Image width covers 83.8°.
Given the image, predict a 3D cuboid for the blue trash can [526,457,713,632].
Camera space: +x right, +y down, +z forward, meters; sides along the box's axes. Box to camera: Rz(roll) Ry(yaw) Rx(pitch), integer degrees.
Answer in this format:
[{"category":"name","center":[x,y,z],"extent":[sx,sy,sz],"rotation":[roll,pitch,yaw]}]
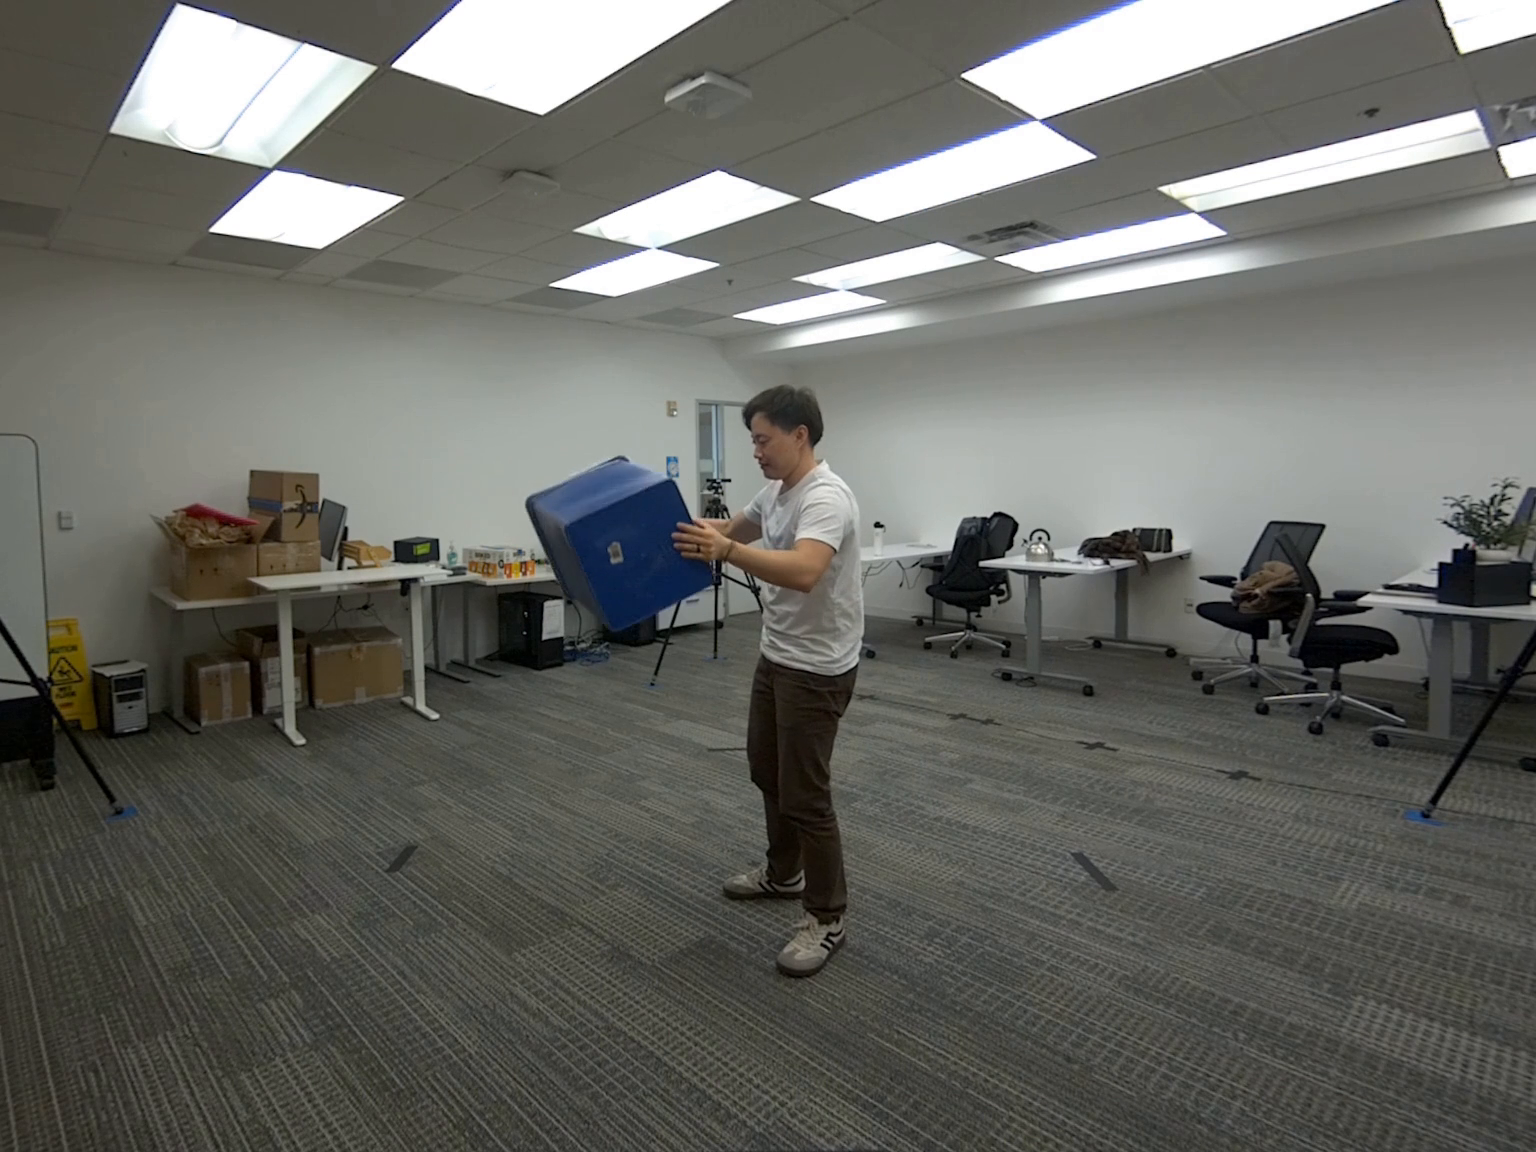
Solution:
[{"category":"blue trash can","center":[-0.429,-0.100,2.473],"extent":[0.375,0.367,0.731],"rotation":[-26,17,-14]}]
